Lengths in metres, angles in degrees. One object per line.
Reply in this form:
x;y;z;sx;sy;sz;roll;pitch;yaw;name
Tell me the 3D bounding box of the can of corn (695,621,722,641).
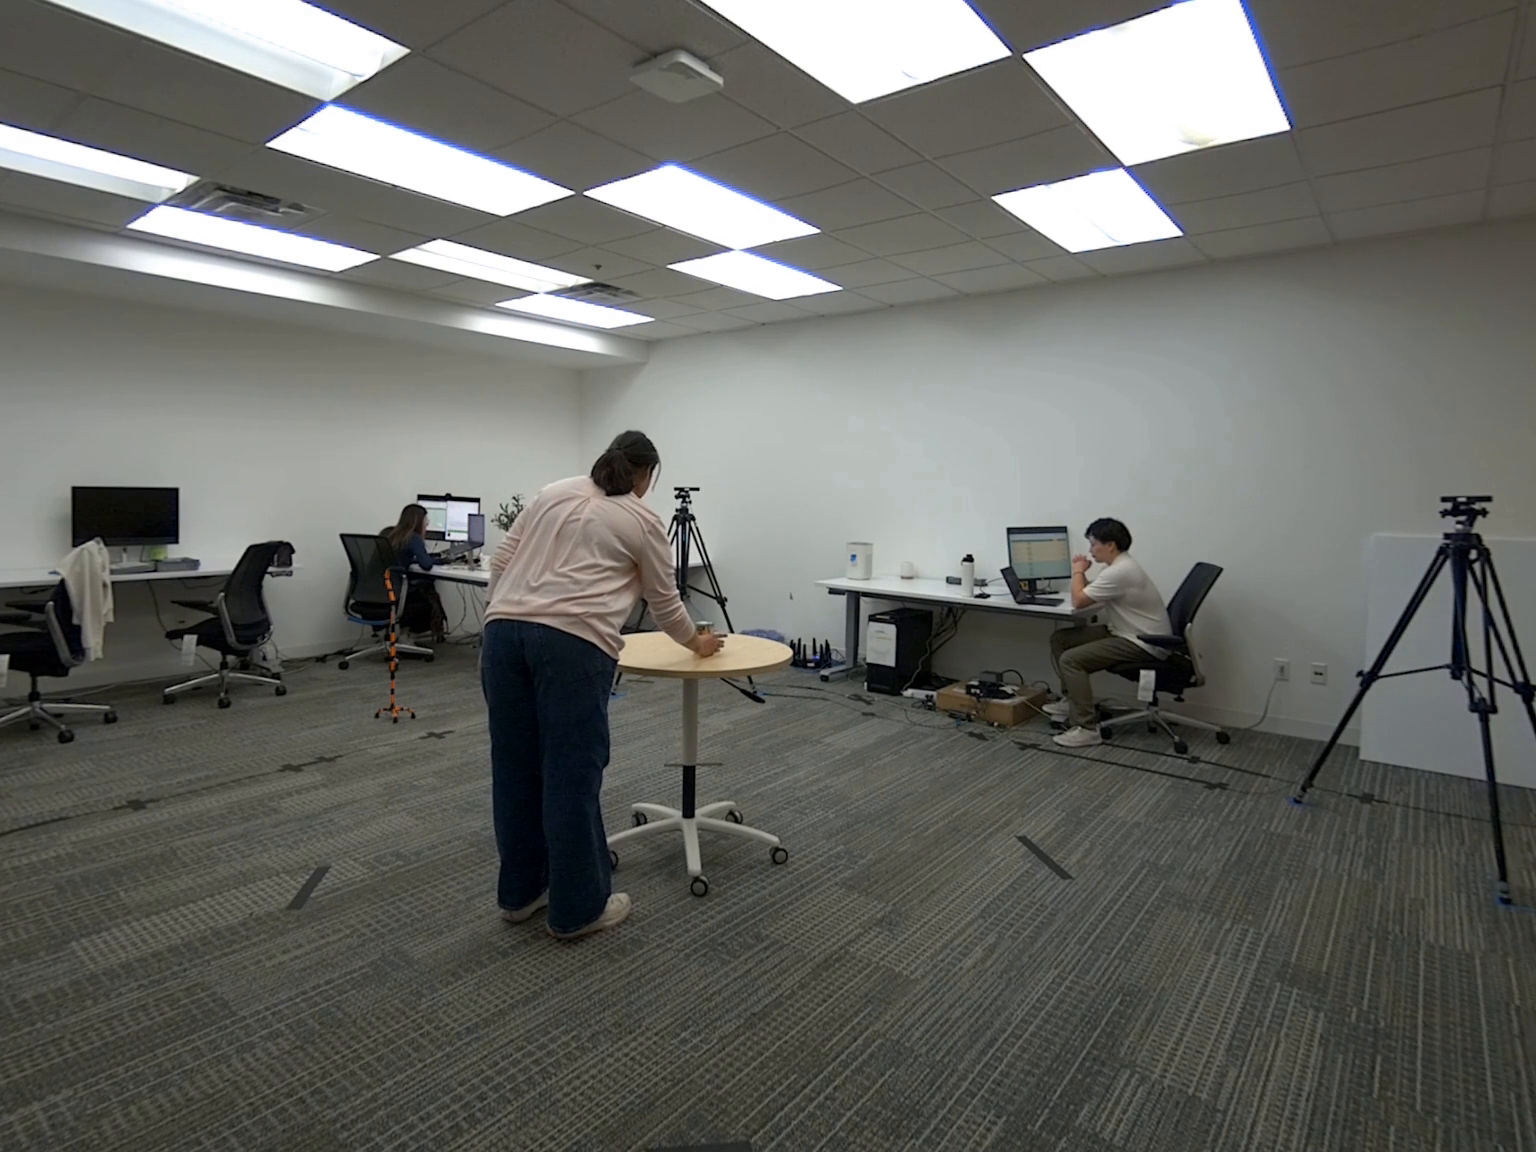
-0.242;0.224;3.127;0.074;0.110;0.075;2;6;-2;can of corn
